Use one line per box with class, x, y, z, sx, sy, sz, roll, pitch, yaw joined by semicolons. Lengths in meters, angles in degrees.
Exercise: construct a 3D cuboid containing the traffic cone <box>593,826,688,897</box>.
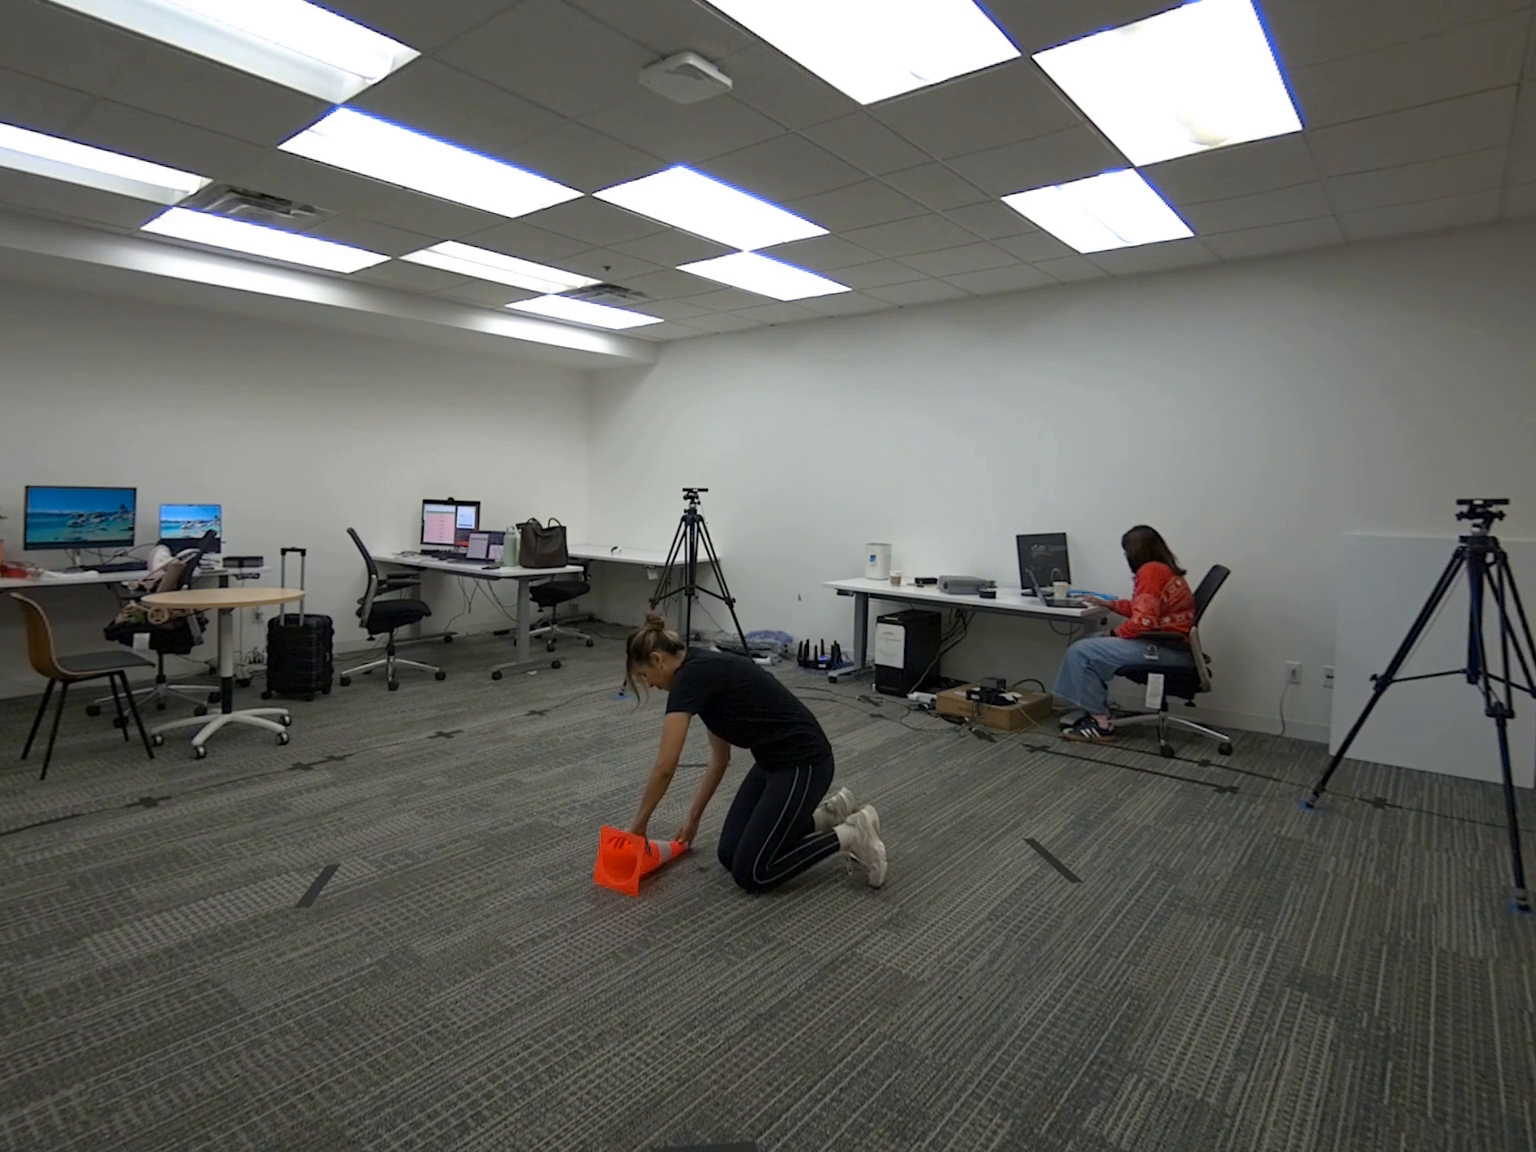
traffic cone;-0.435;1.009;3.103;0.211;0.204;0.370;3;-7;32
